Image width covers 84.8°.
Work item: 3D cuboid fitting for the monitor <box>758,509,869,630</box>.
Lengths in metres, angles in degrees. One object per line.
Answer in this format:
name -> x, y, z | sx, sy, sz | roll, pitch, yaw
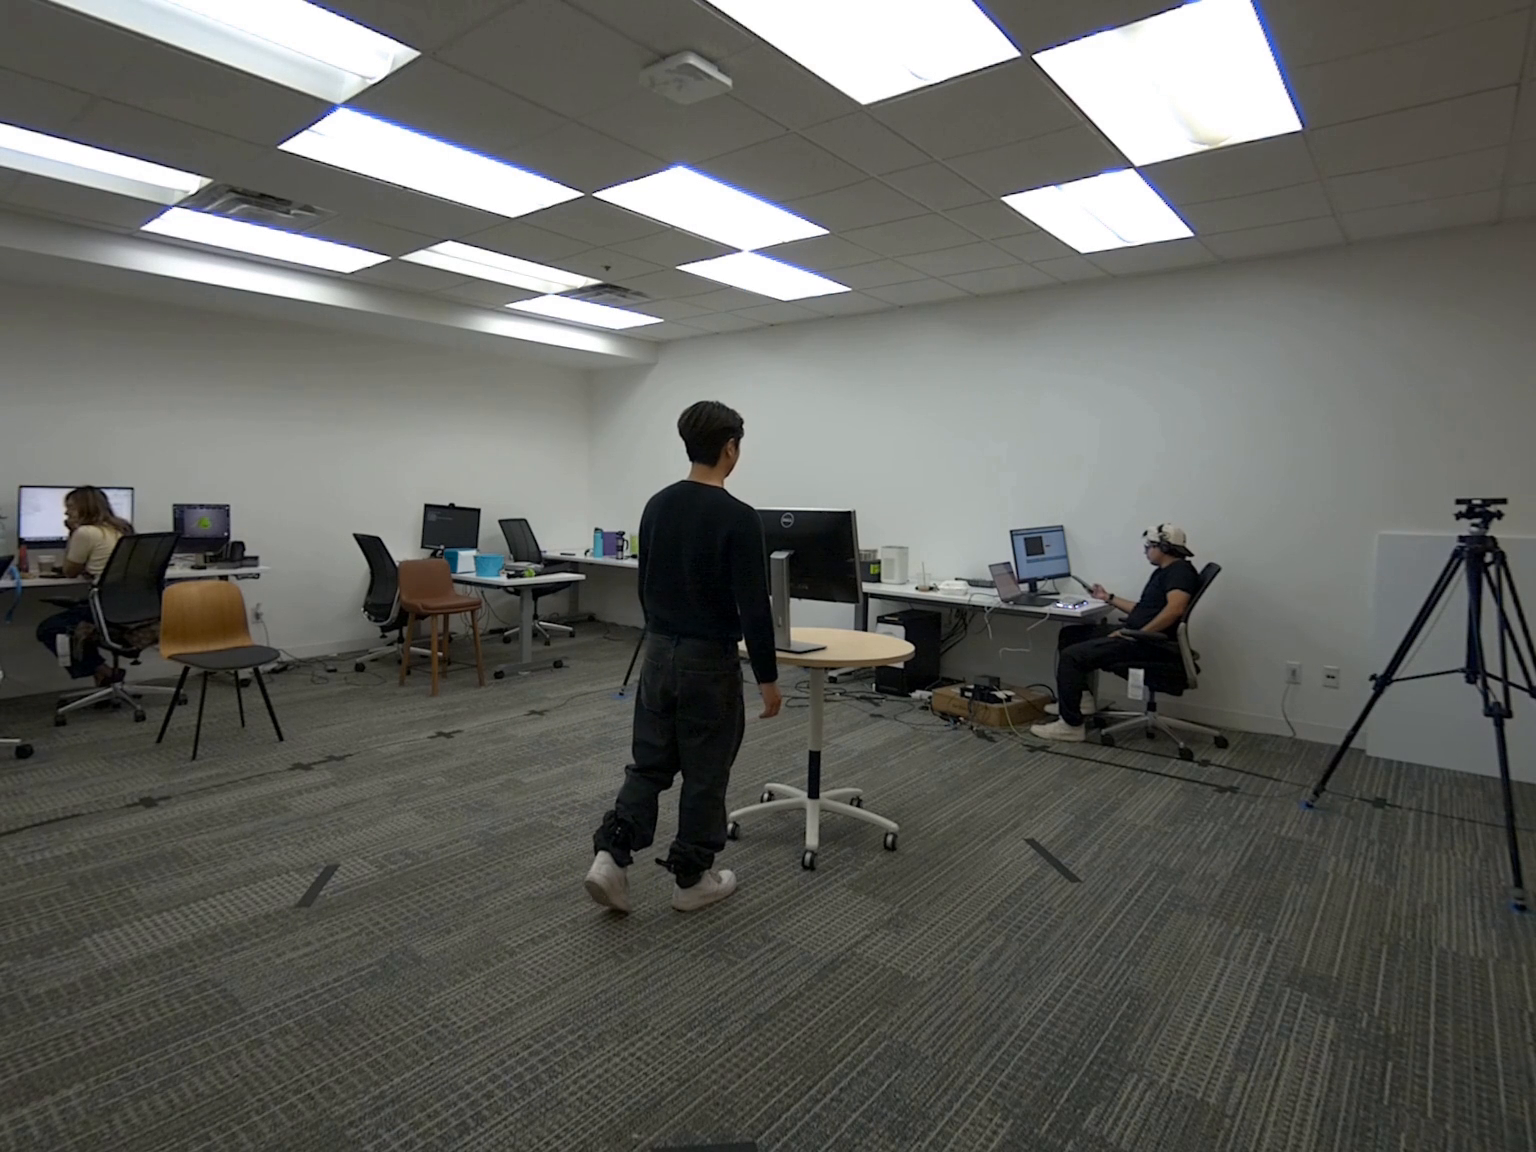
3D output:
monitor -> 0.075, 0.010, 3.300 | 0.556, 0.521, 0.181 | 3, 3, 35
